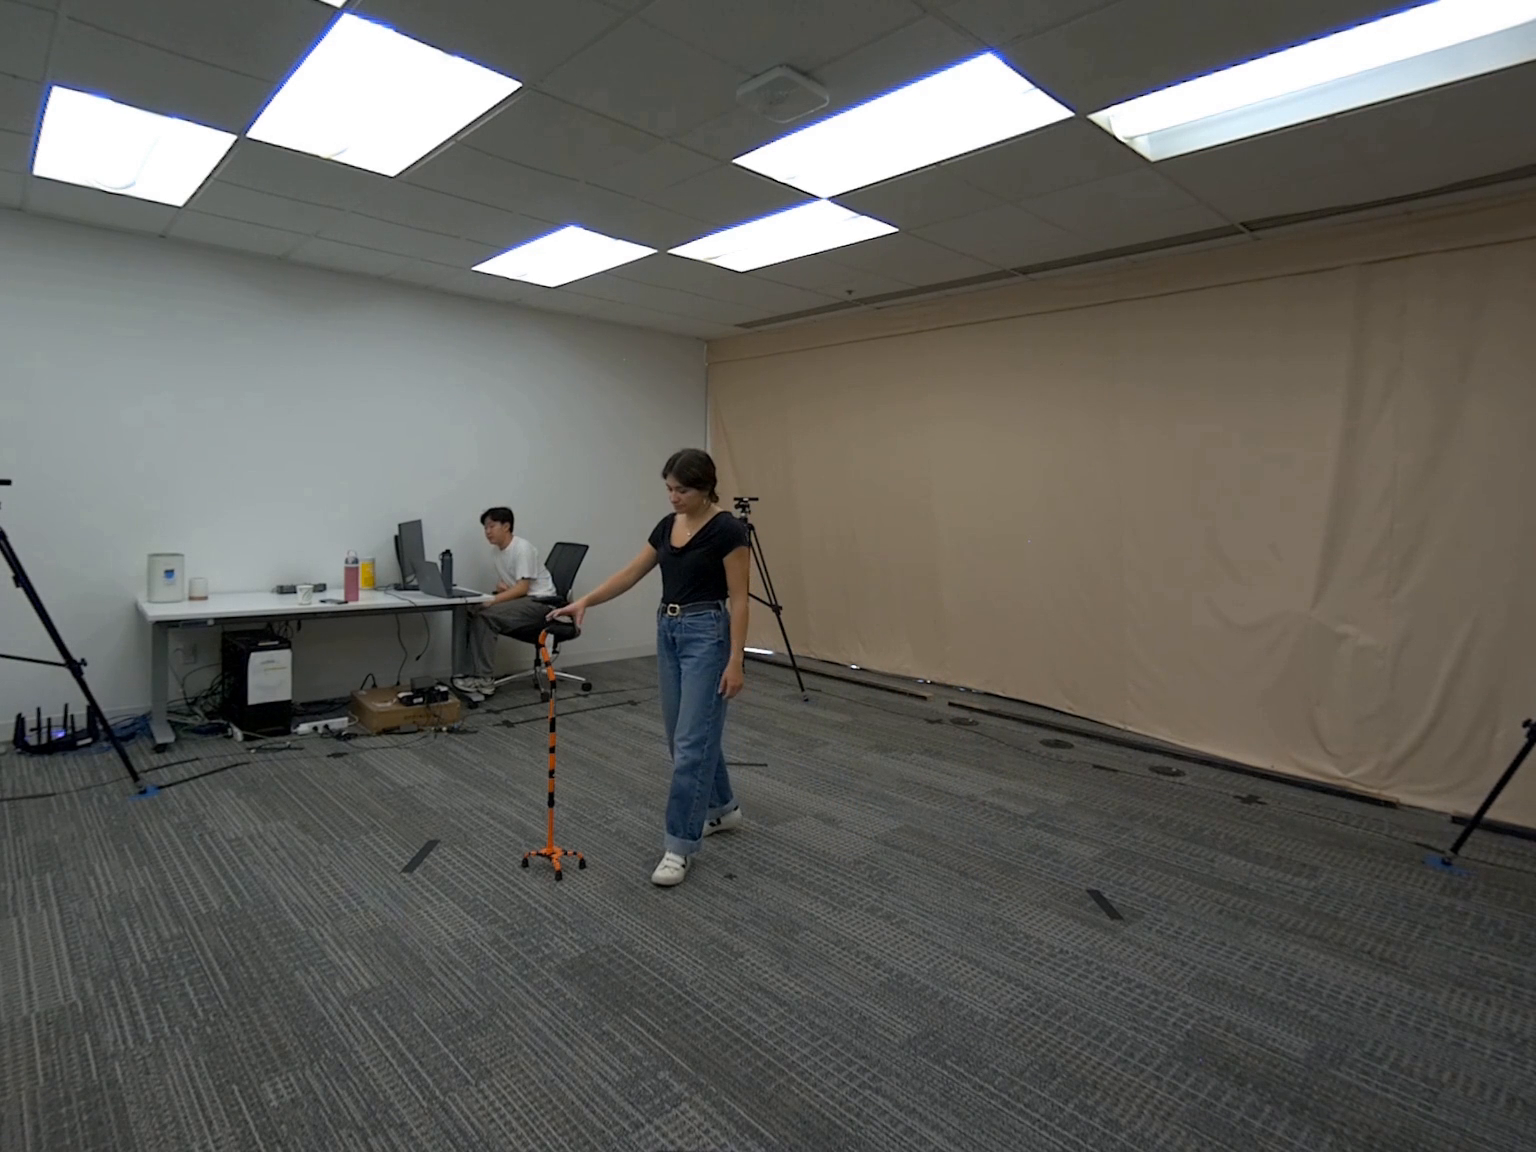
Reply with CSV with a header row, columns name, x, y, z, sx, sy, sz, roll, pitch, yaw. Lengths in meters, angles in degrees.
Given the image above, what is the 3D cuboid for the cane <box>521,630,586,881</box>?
name,x,y,z,sx,sy,sz,roll,pitch,yaw
cane,-0.794,0.635,3.115,0.211,0.906,0.148,3,4,32
